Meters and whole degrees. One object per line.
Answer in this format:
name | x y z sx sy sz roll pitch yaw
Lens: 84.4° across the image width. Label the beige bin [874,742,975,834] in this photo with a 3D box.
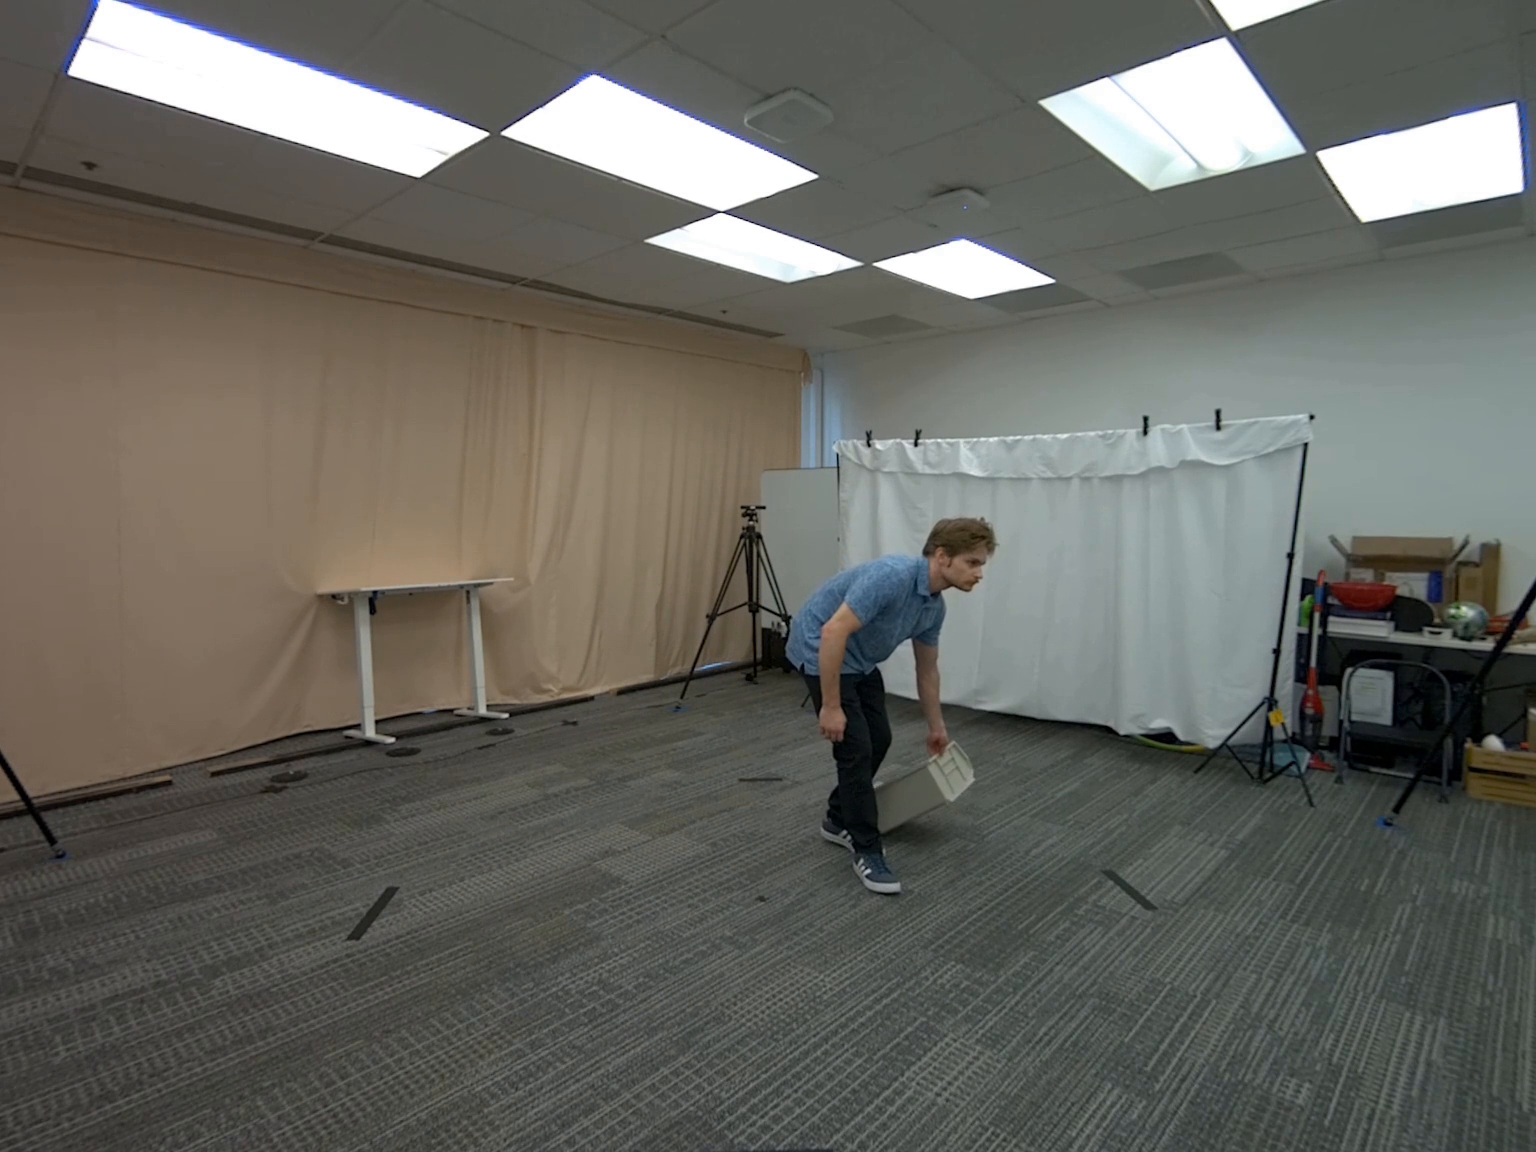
beige bin | 0.619 0.905 3.558 0.428 0.191 0.367 -35 -13 28
